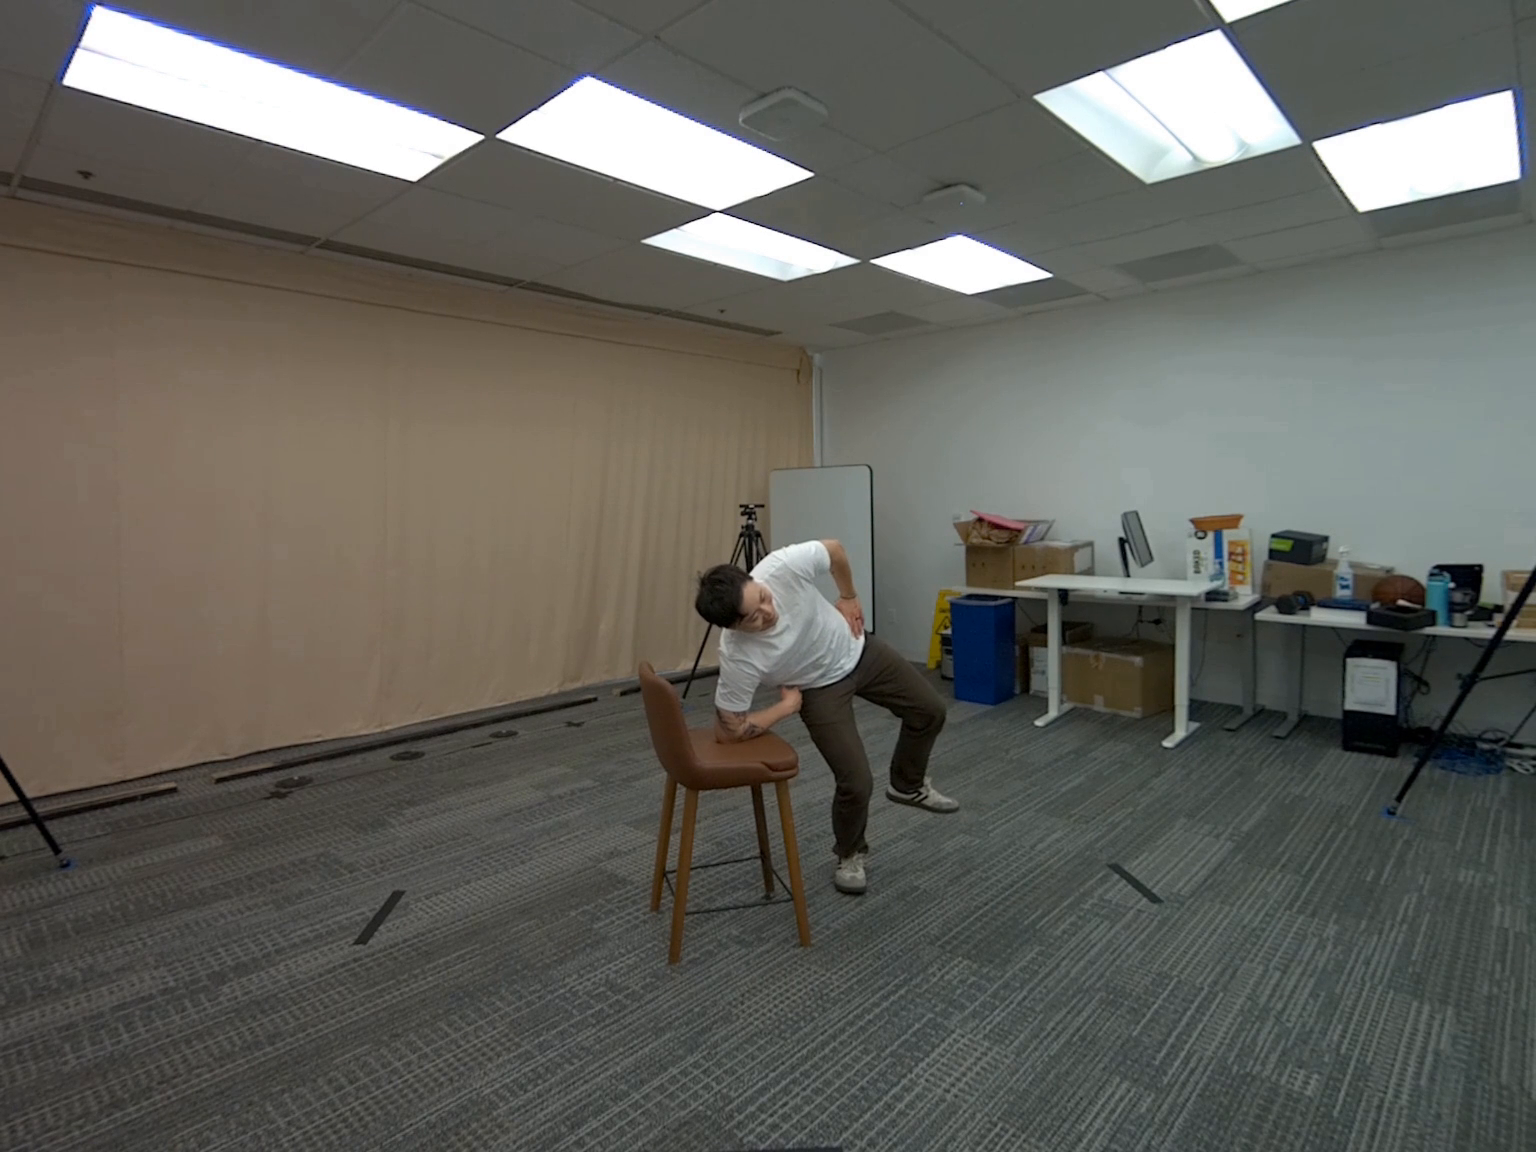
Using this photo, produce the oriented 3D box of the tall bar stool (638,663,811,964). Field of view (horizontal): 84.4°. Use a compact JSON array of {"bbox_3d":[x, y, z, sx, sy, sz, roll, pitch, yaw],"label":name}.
[{"bbox_3d":[-0.149,0.727,2.763,0.460,0.888,0.465,-3,4,-16],"label":"tall bar stool"}]
